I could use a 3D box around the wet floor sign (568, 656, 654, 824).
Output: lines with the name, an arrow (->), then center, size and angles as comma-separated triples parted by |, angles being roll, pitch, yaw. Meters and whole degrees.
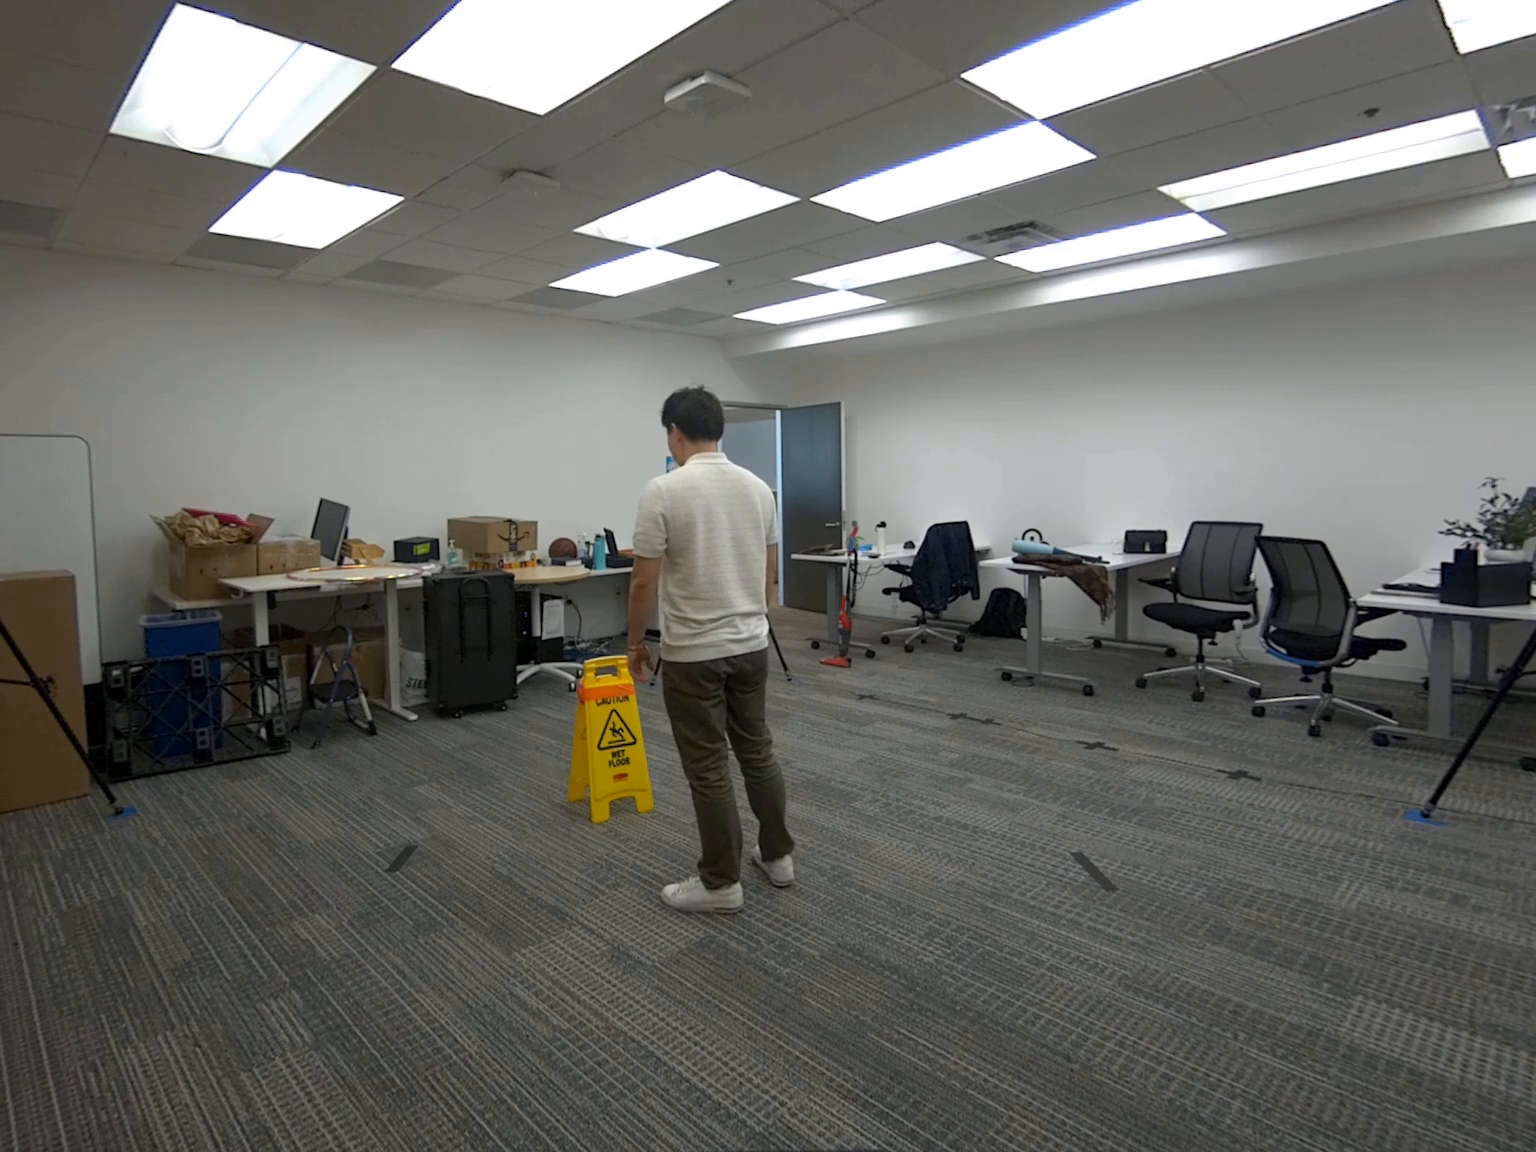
wet floor sign -> -0.687, 0.671, 3.676 | 0.275, 0.644, 0.298 | -4, 4, -32
